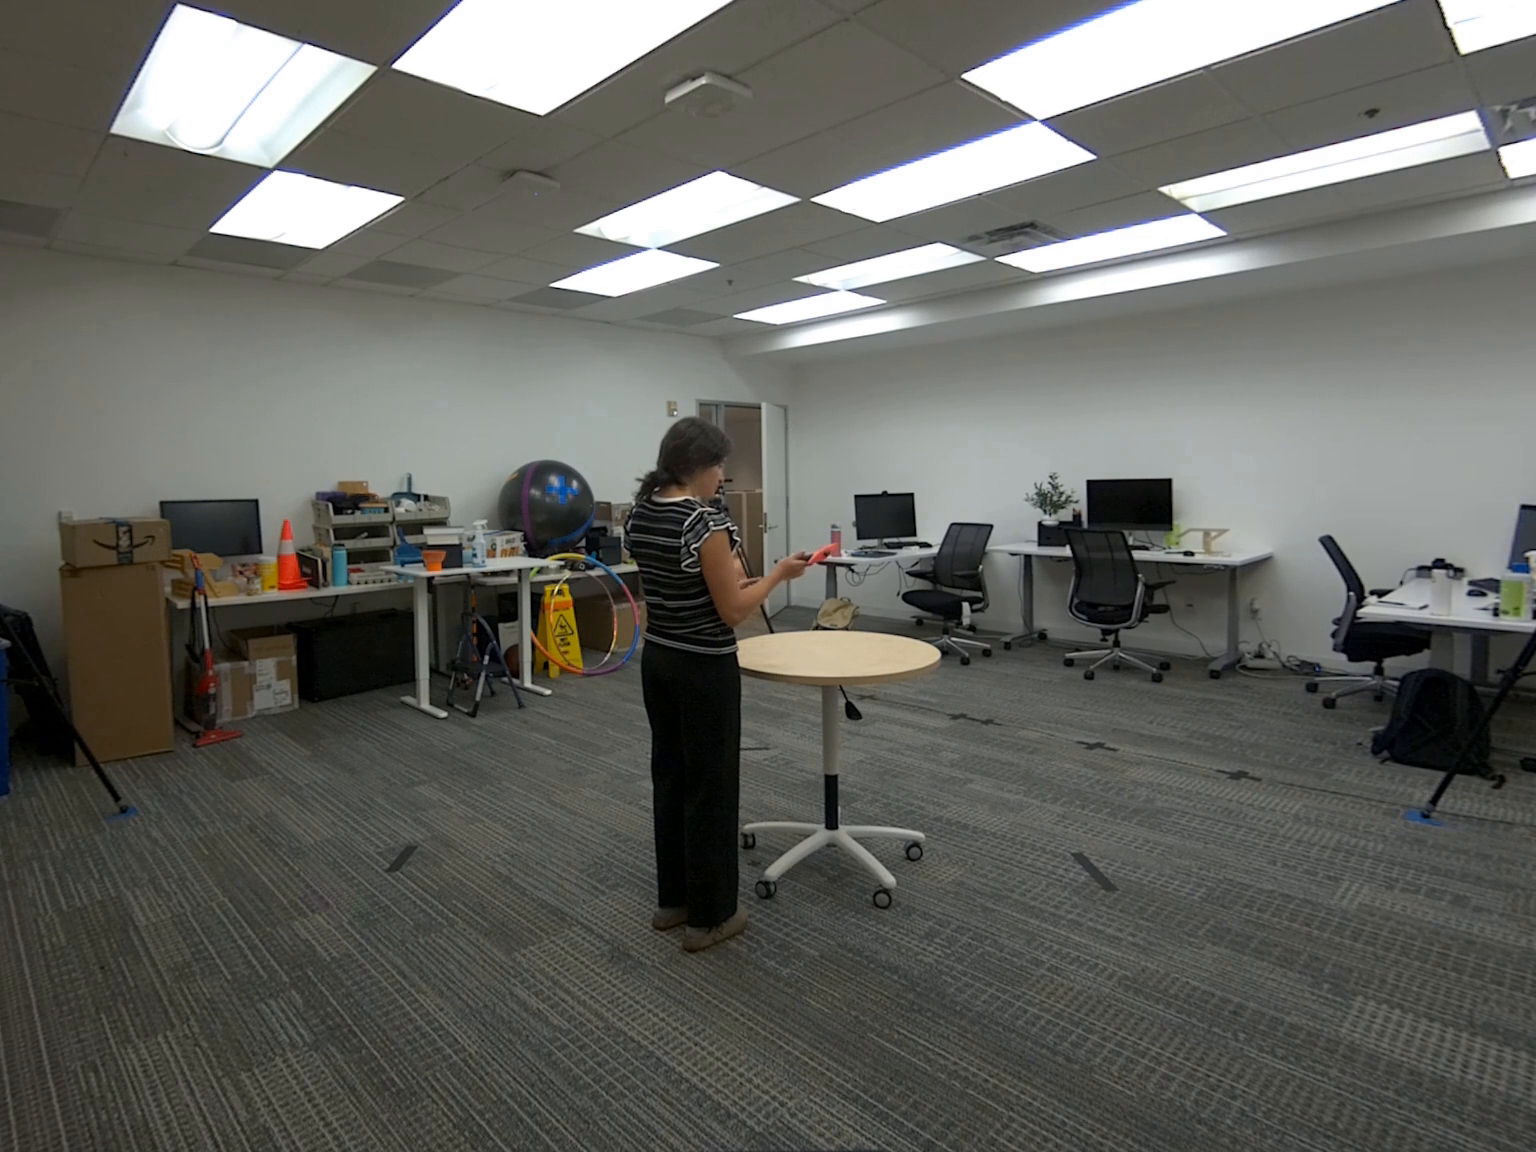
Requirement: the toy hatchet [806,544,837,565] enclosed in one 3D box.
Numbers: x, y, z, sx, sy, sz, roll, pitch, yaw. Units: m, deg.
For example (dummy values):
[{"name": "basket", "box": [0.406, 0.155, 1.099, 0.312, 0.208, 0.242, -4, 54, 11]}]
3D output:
[{"name": "toy hatchet", "box": [0.117, -0.069, 2.682, 0.130, 0.029, 0.276, -32, 15, -21]}]
